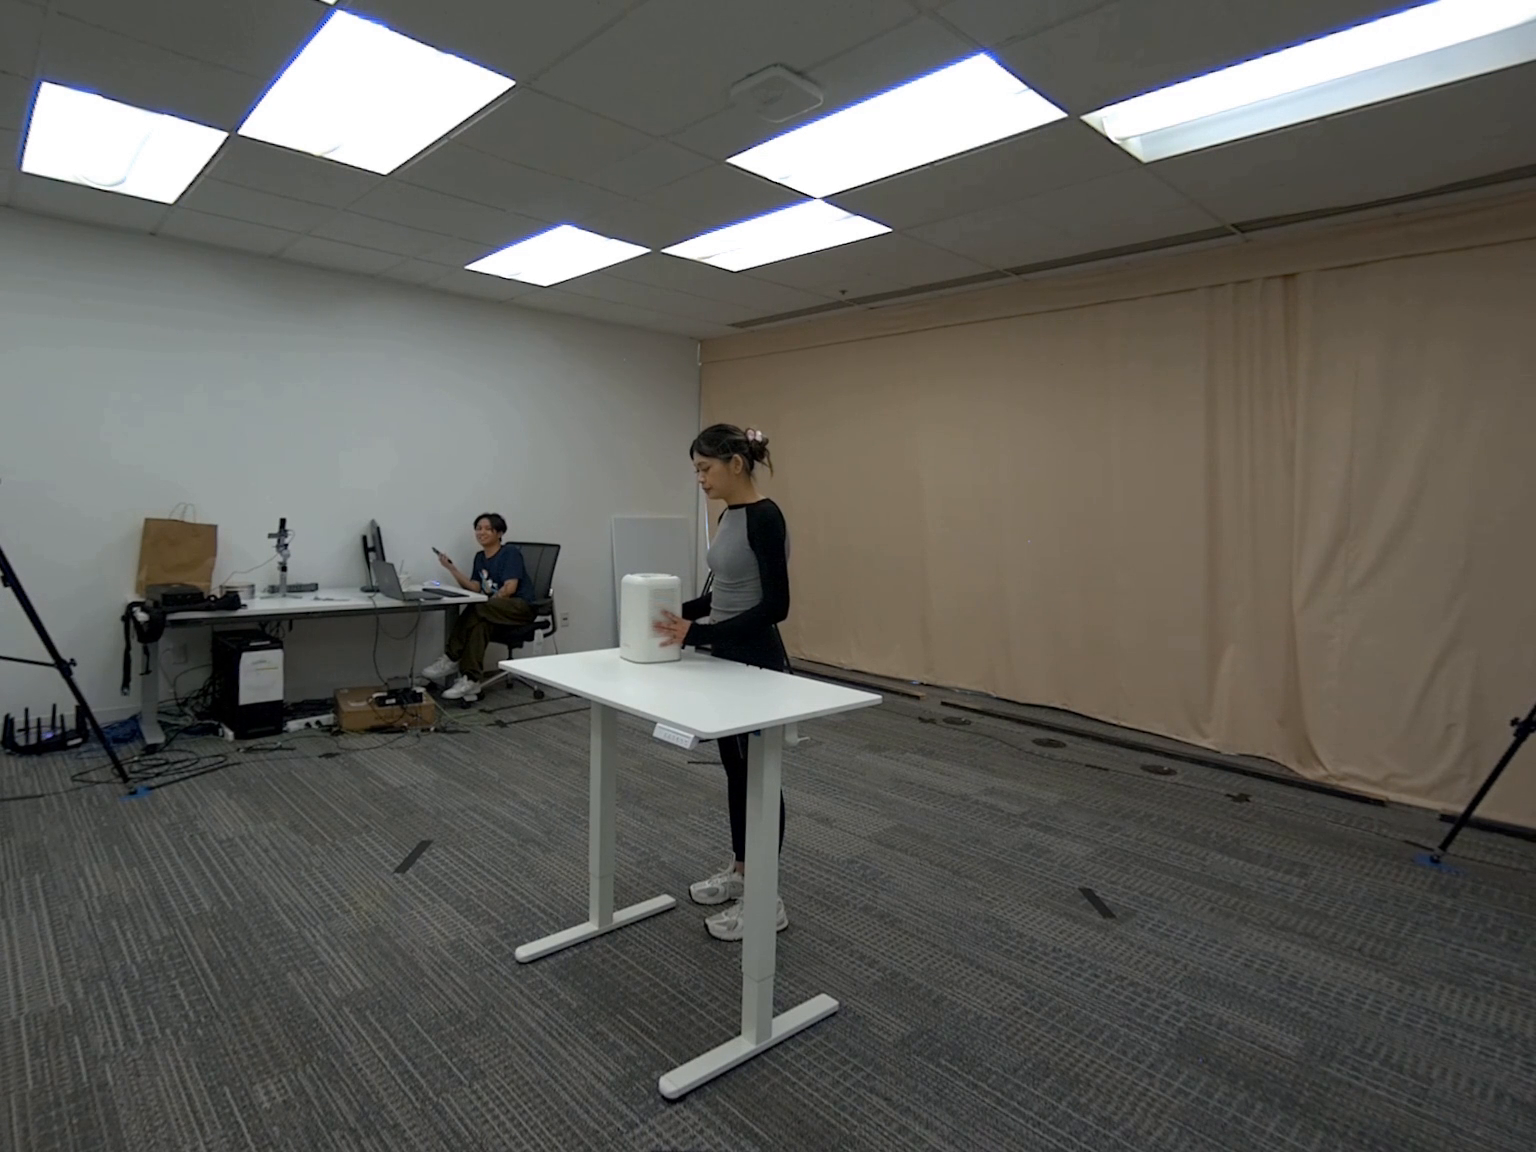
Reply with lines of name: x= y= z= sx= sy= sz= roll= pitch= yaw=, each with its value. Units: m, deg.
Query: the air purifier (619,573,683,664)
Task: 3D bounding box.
air purifier: x=-0.372 y=0.129 z=2.667 sx=0.168 sy=0.265 sz=0.175 roll=1 pitch=1 yaw=-32
